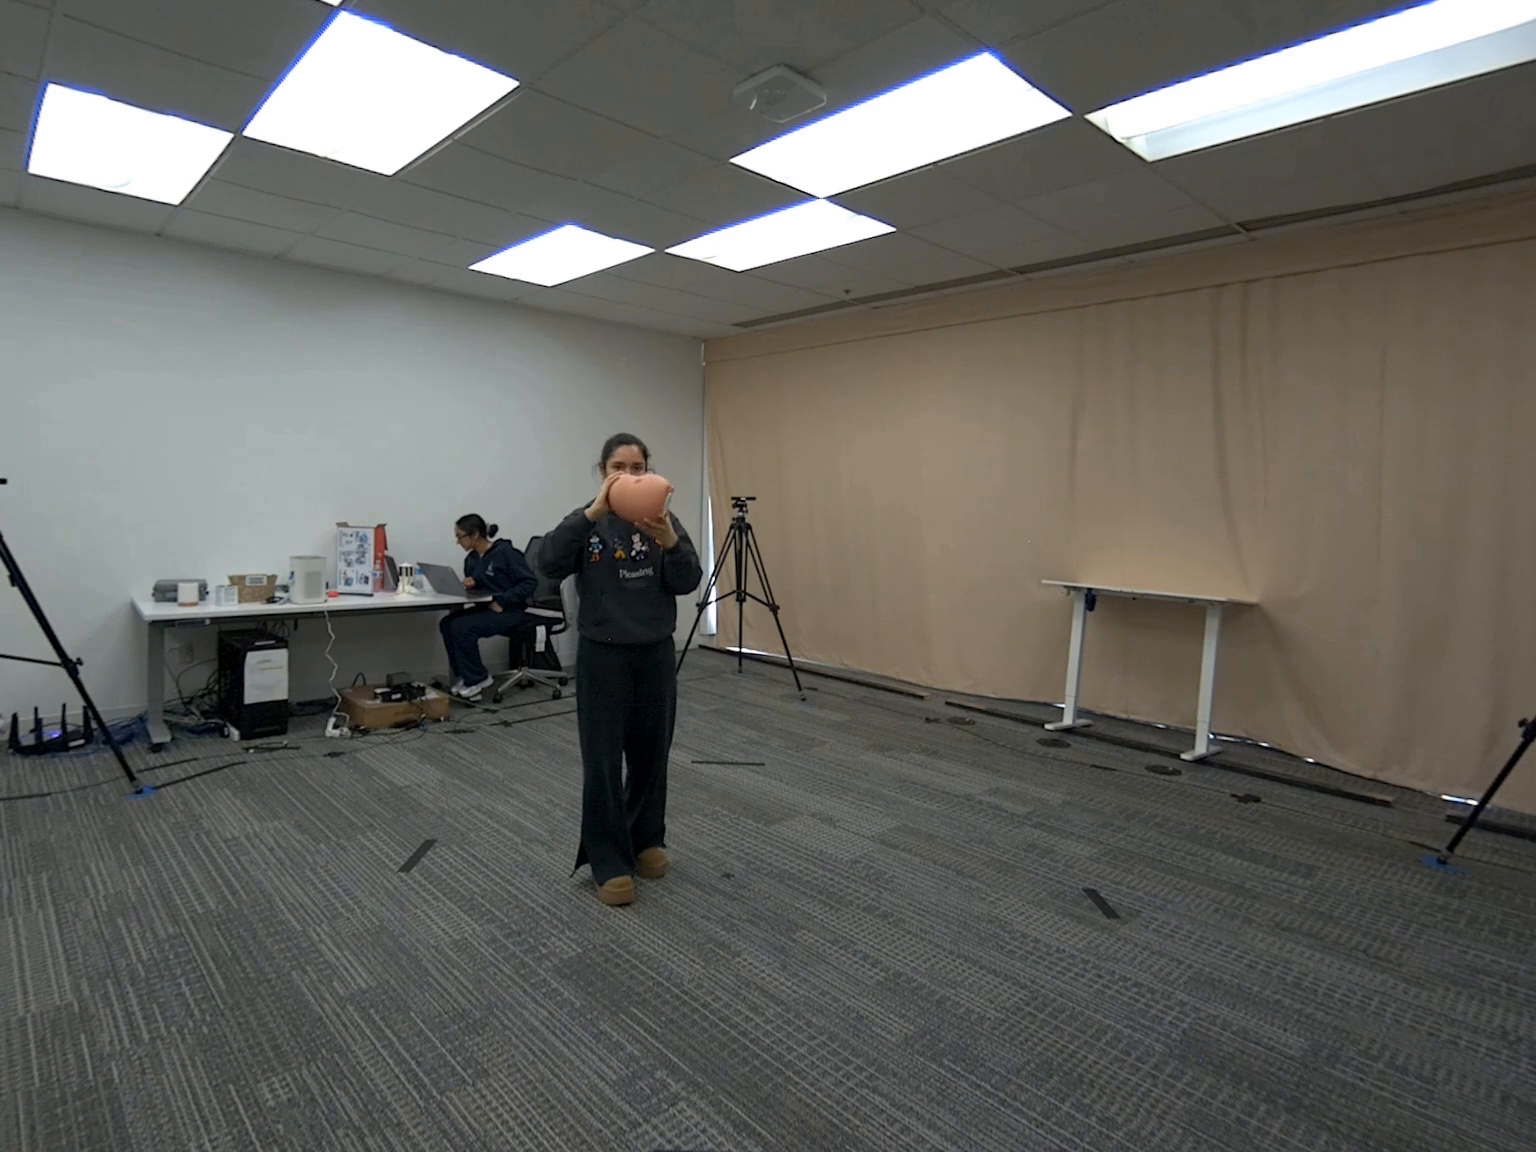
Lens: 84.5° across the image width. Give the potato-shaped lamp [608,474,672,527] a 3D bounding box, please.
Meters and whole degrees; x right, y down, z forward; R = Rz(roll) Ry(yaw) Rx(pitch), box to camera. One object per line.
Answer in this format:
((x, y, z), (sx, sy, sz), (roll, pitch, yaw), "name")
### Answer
((-0.428, -0.259, 2.733), (0.199, 0.171, 0.164), (19, 0, 2), "potato-shaped lamp")
